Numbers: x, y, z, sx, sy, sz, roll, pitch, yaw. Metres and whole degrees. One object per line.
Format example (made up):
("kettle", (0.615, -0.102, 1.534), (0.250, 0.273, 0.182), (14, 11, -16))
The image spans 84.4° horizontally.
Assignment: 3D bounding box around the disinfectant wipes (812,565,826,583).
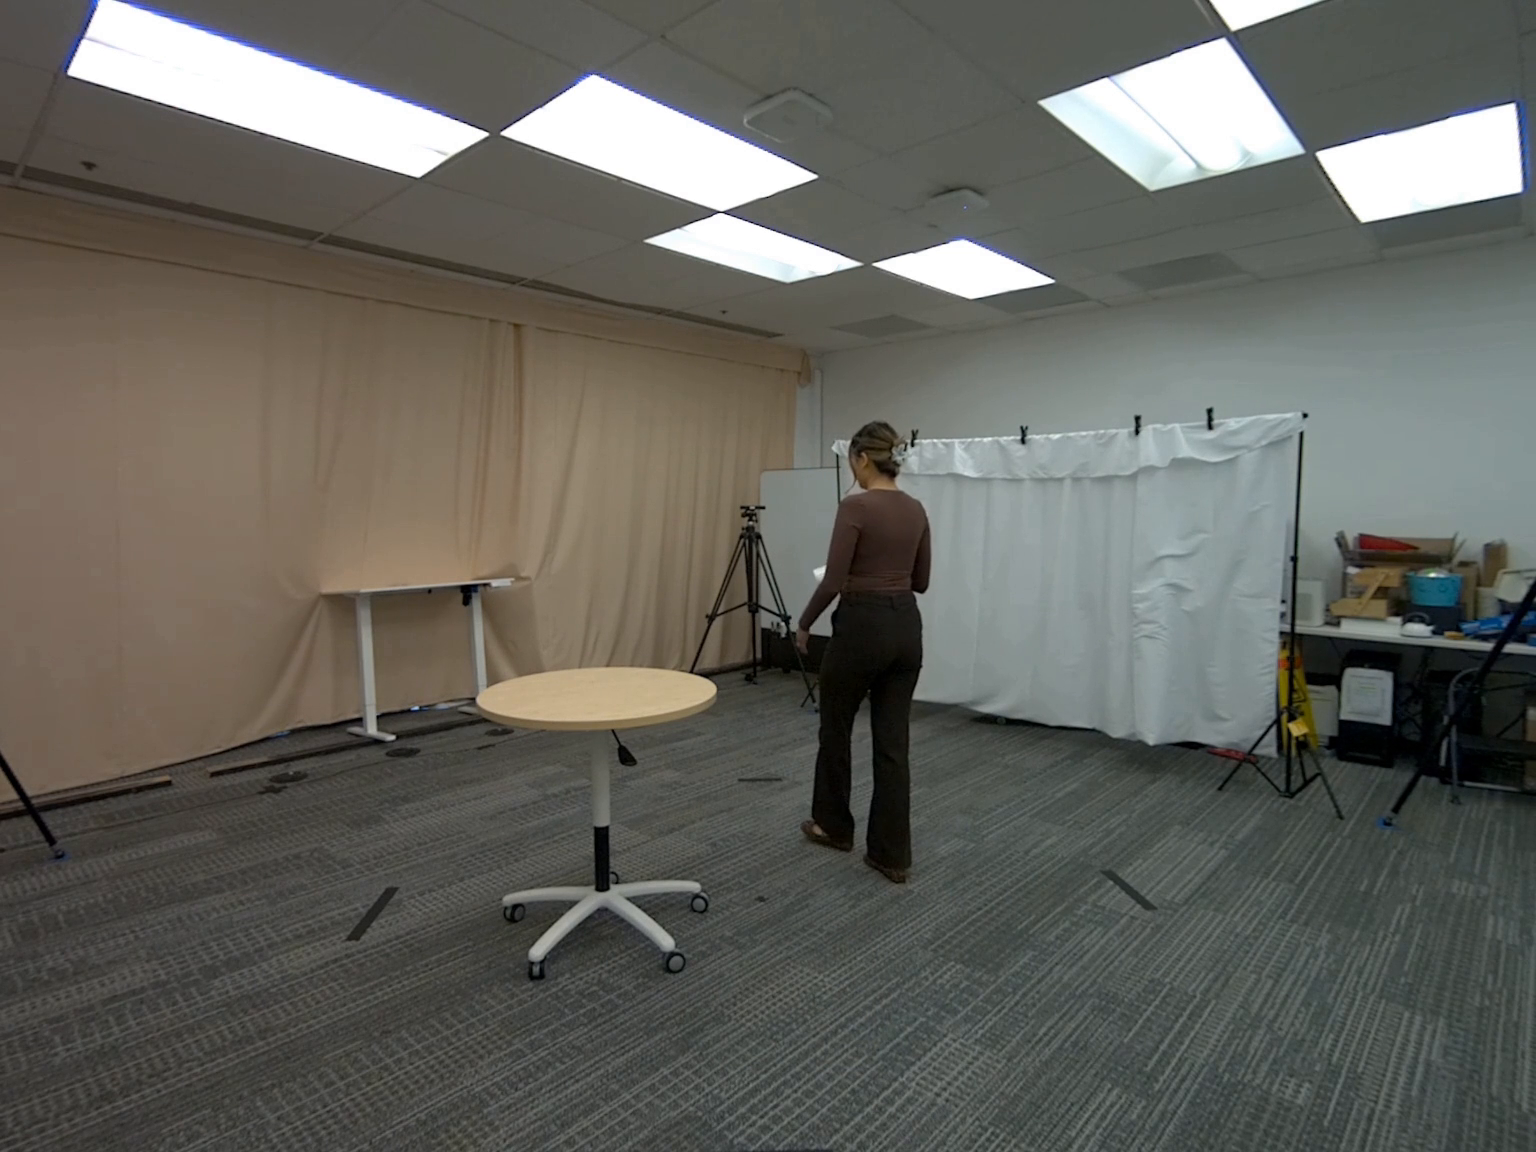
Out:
("disinfectant wipes", (0.320, -0.014, 3.650), (0.219, 0.118, 0.117), (-23, 1, 9))
